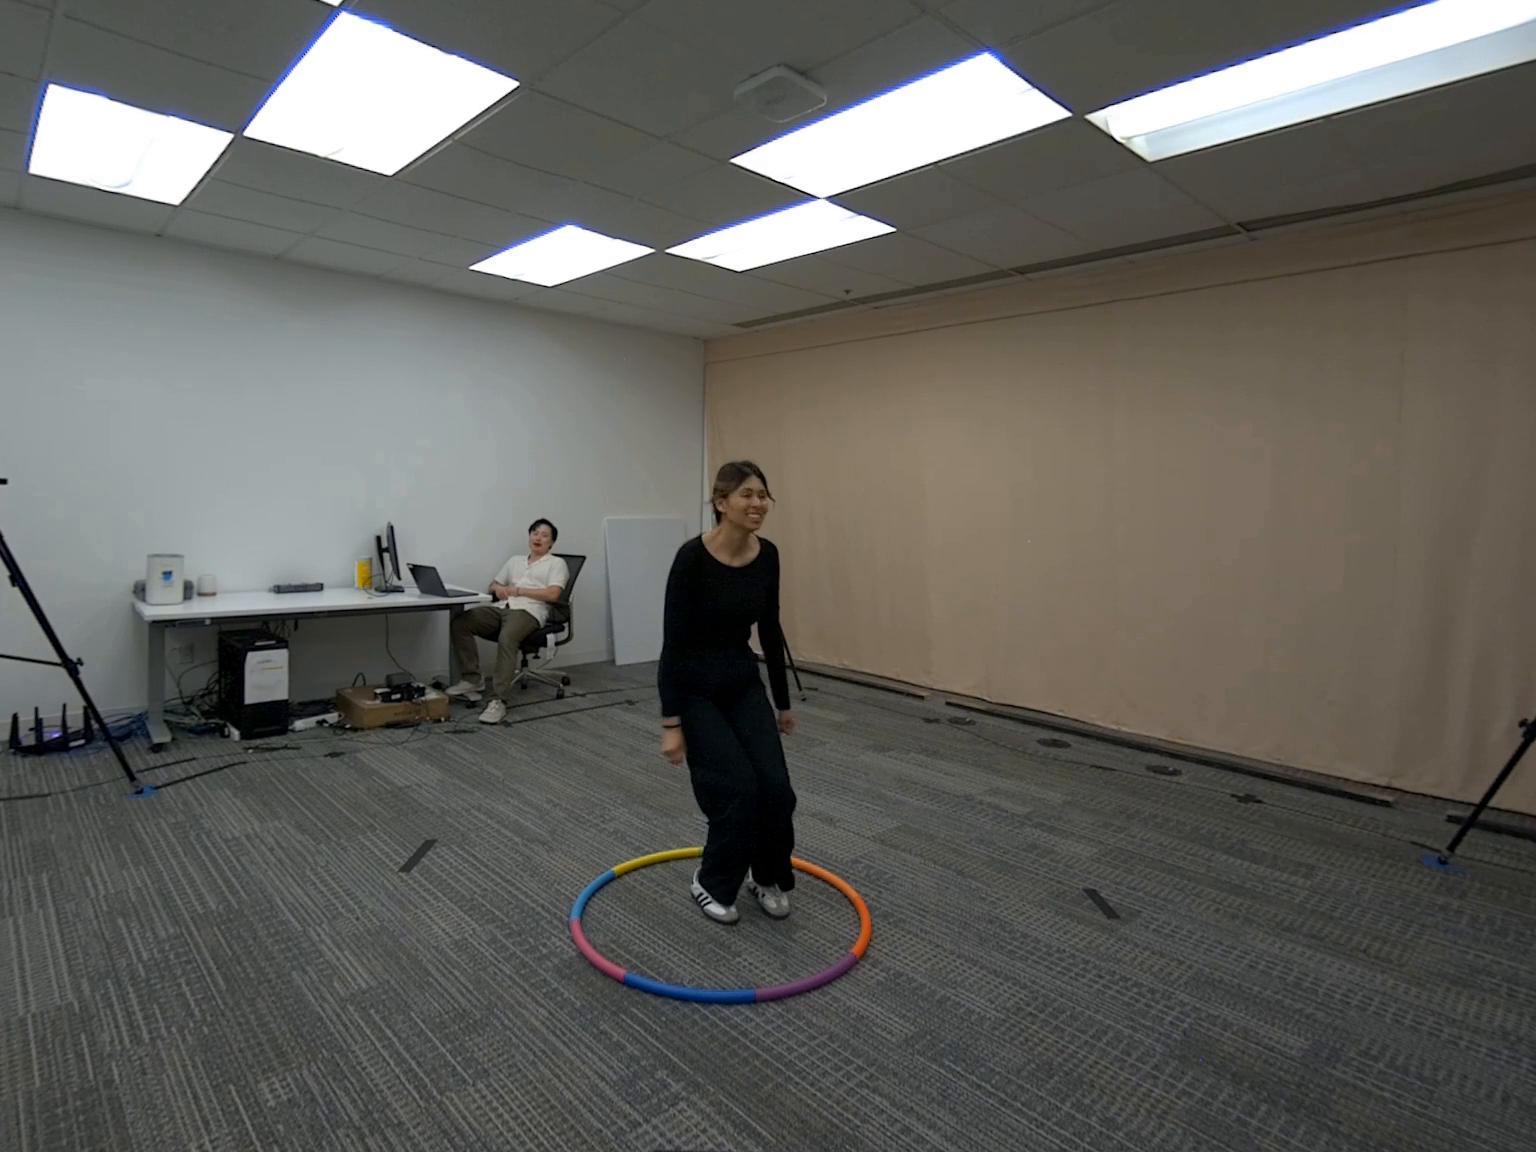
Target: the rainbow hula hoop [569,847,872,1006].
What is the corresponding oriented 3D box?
[{"bbox_3d":[-0.162,1.107,2.800,0.978,0.035,0.982,1,5,-1],"label":"rainbow hula hoop"}]
